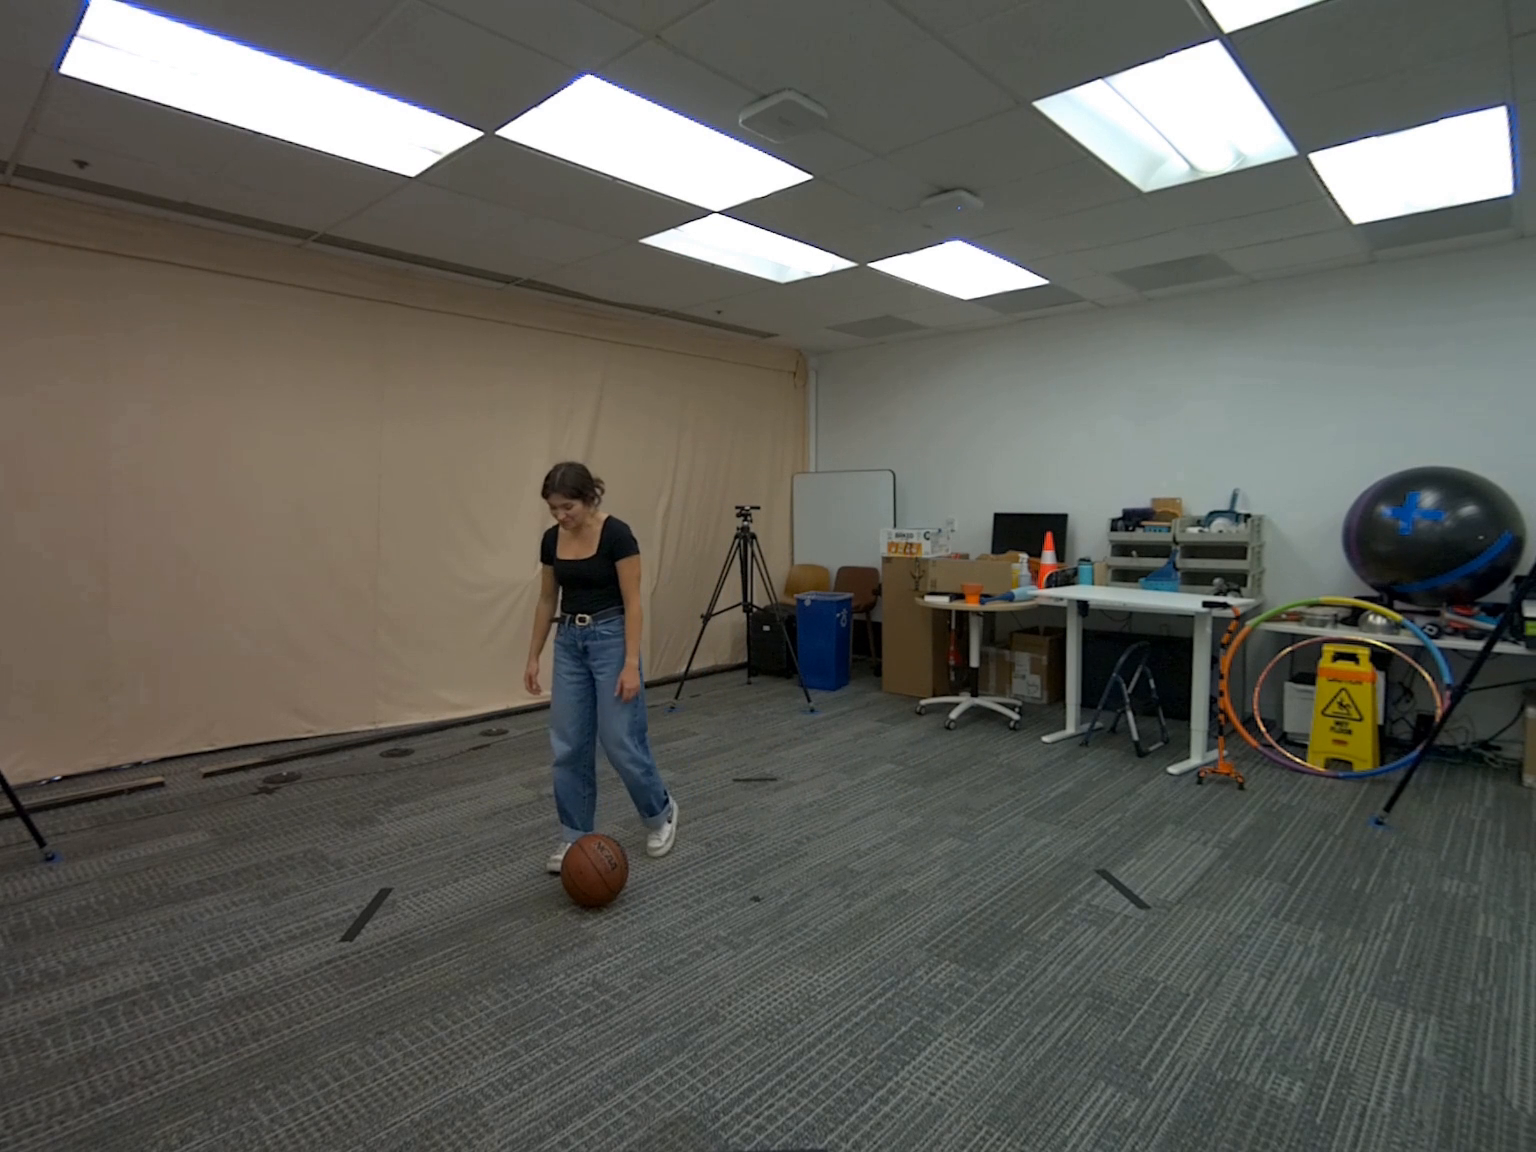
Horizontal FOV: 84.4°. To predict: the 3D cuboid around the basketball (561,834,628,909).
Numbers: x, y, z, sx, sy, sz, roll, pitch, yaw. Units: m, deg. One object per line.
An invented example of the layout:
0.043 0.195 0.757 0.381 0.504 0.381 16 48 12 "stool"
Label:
-0.609 1.028 2.955 0.236 0.235 0.237 0 4 -2 "basketball"
